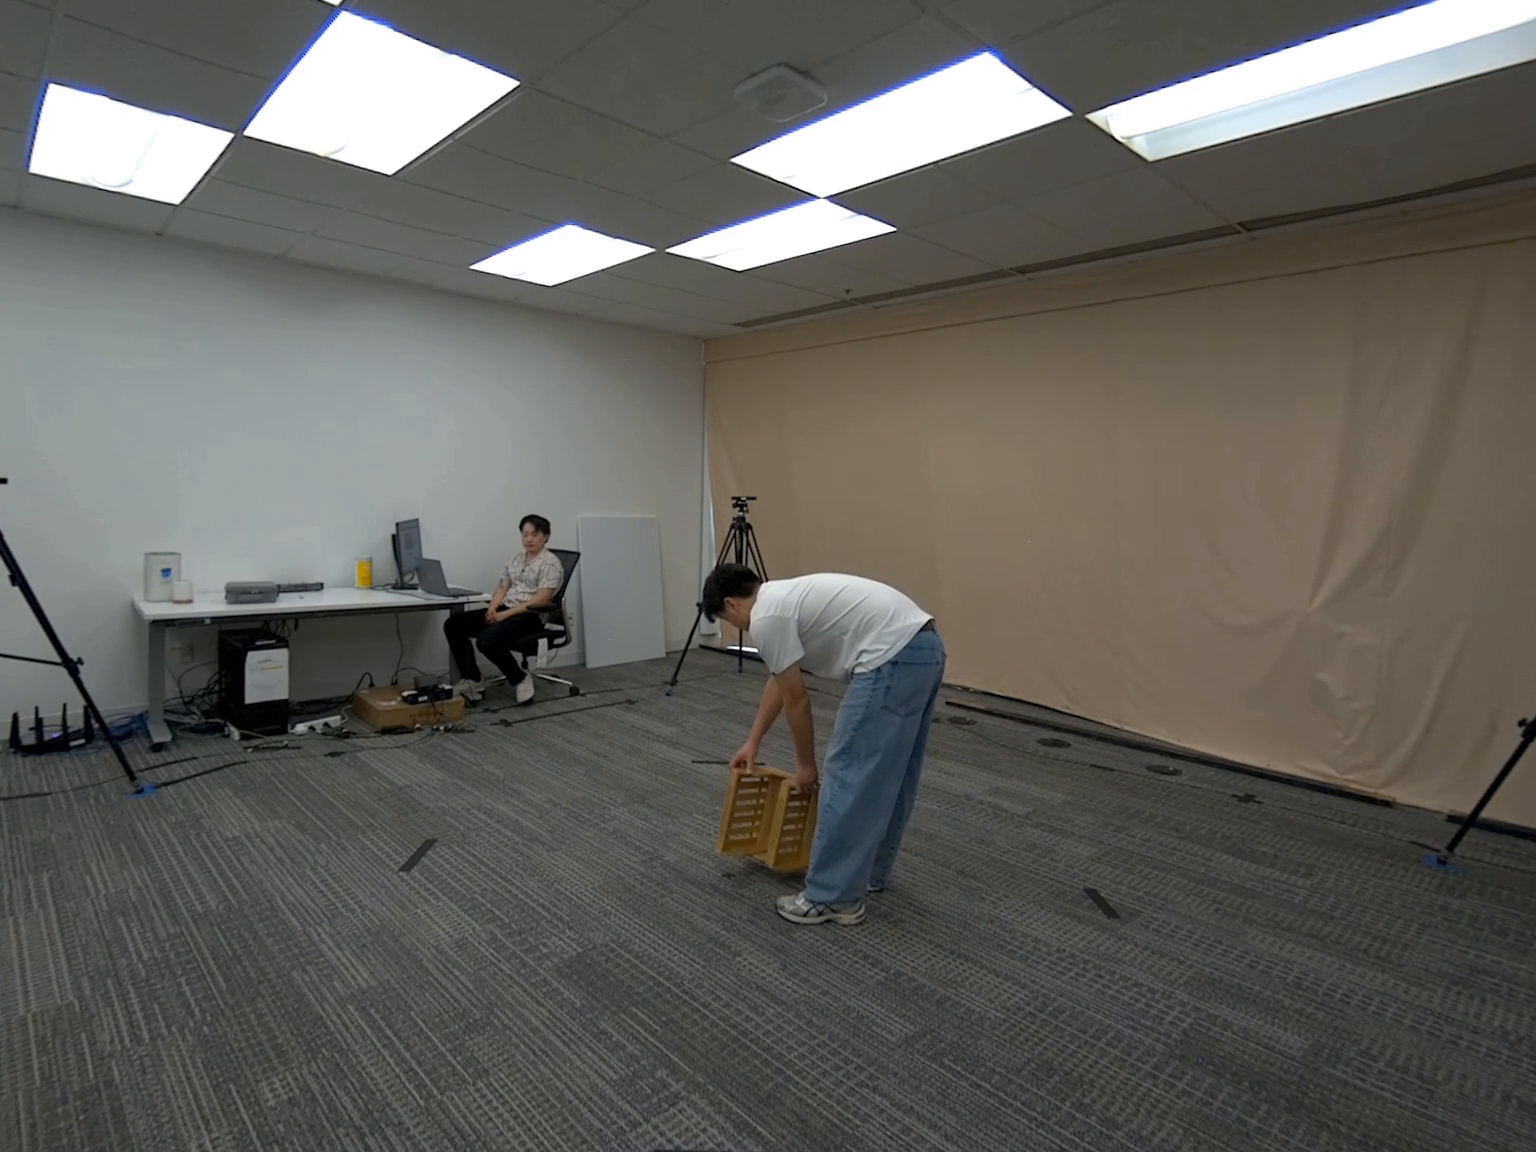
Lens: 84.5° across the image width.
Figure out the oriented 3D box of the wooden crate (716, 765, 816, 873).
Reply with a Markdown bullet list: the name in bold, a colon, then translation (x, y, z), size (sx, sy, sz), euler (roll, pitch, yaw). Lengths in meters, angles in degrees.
- **wooden crate**: translation (0.010, 0.886, 3.096), size (0.280, 0.325, 0.293), euler (9, -2, 40)
